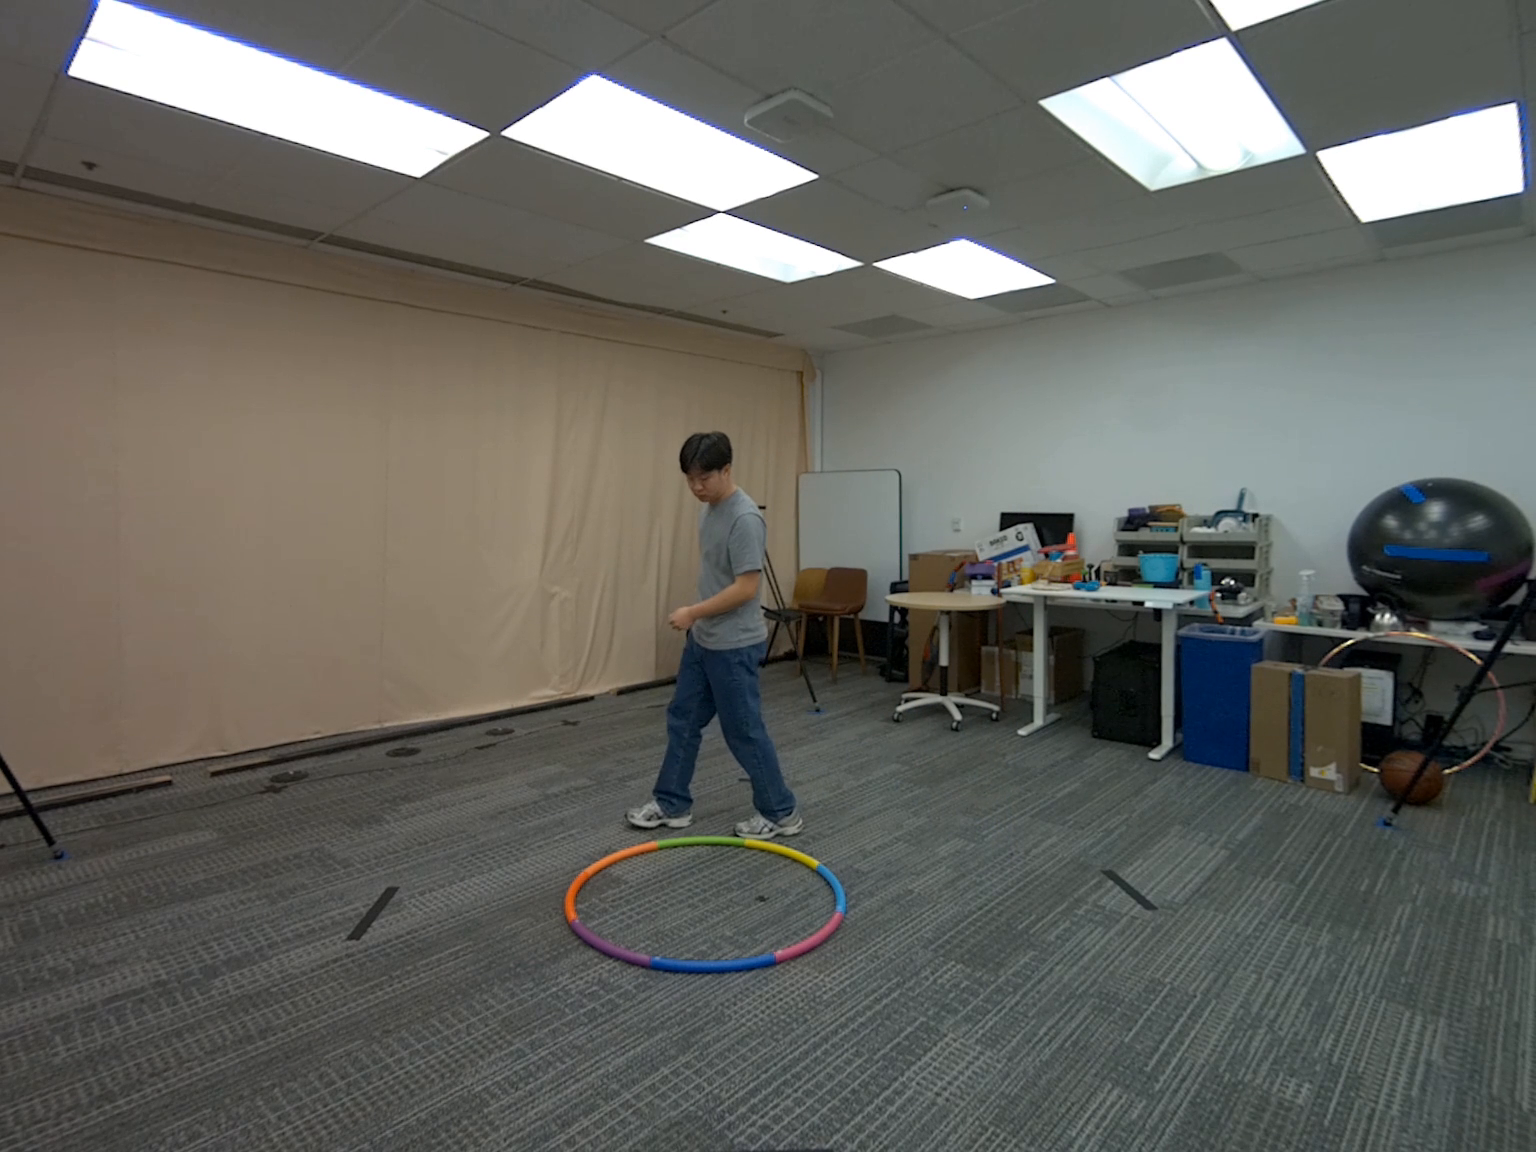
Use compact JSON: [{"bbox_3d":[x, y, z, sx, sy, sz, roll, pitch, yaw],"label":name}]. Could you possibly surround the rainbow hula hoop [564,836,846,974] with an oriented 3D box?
[{"bbox_3d":[-0.223,1.114,2.991,0.978,0.035,0.982,-1,5,-2],"label":"rainbow hula hoop"}]
